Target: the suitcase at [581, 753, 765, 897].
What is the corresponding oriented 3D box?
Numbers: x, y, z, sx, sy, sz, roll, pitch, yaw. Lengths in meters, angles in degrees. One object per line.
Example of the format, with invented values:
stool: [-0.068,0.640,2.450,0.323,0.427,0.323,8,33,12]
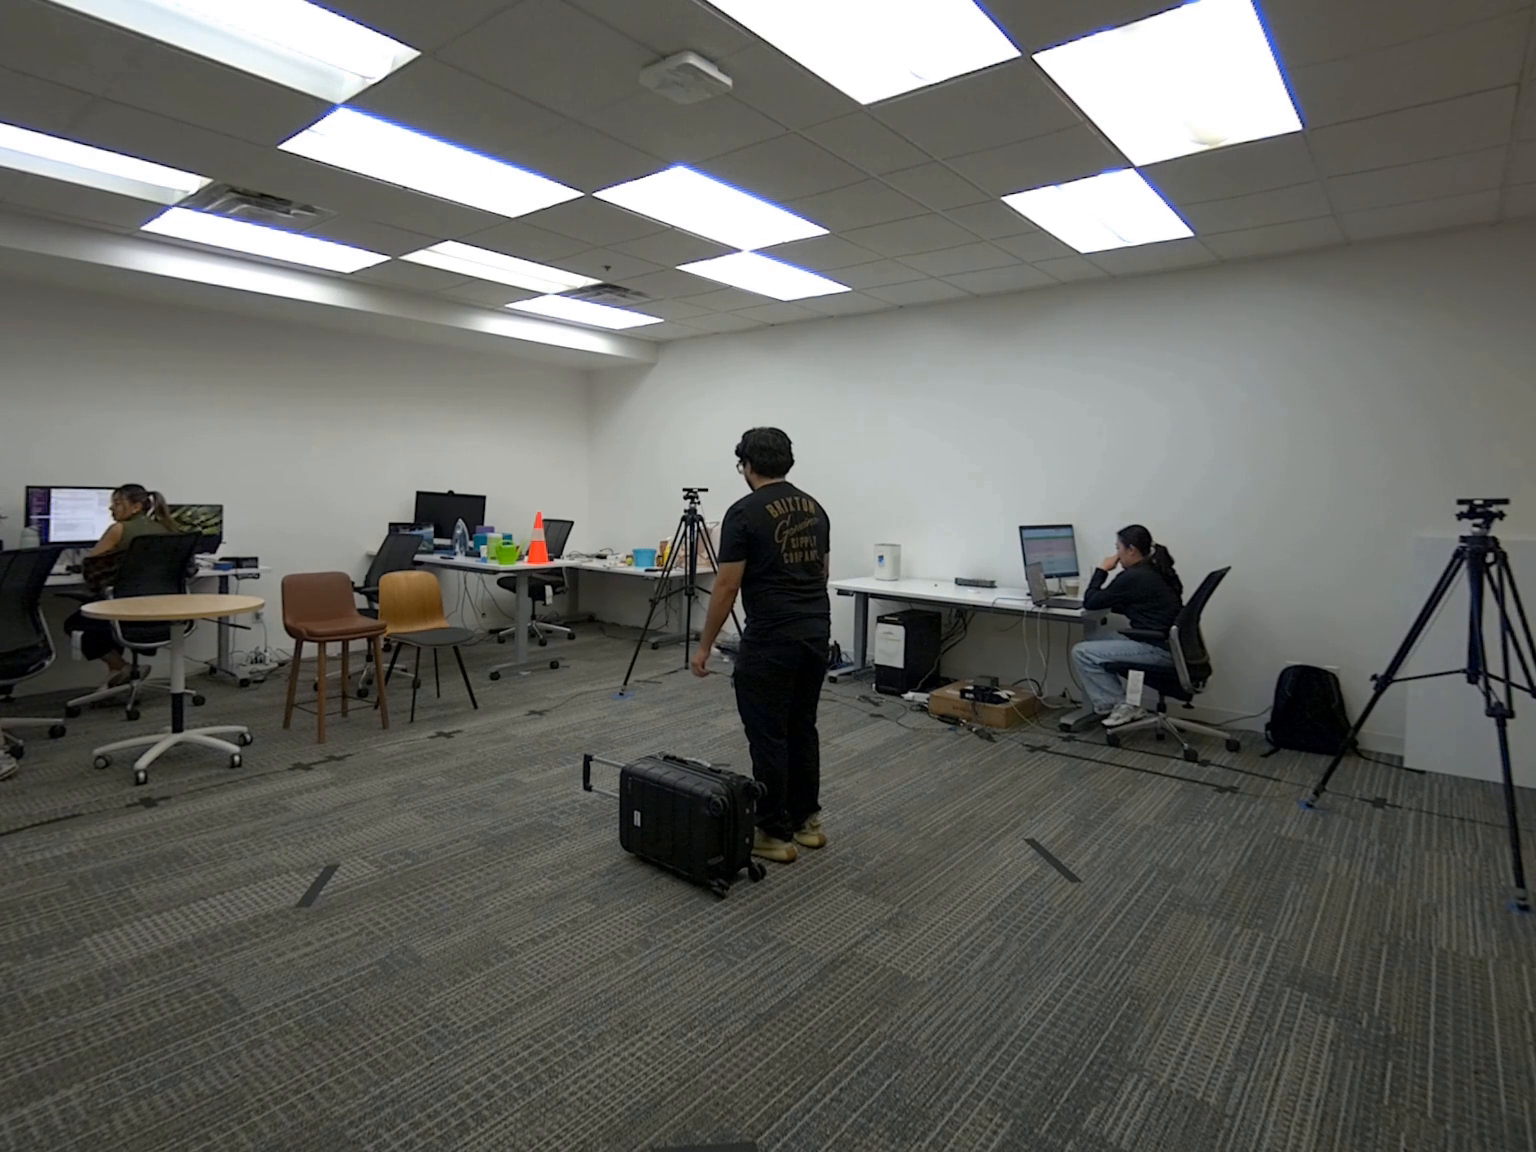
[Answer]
suitcase: [-0.475,0.864,3.252,1.011,0.383,0.249,4,5,39]
